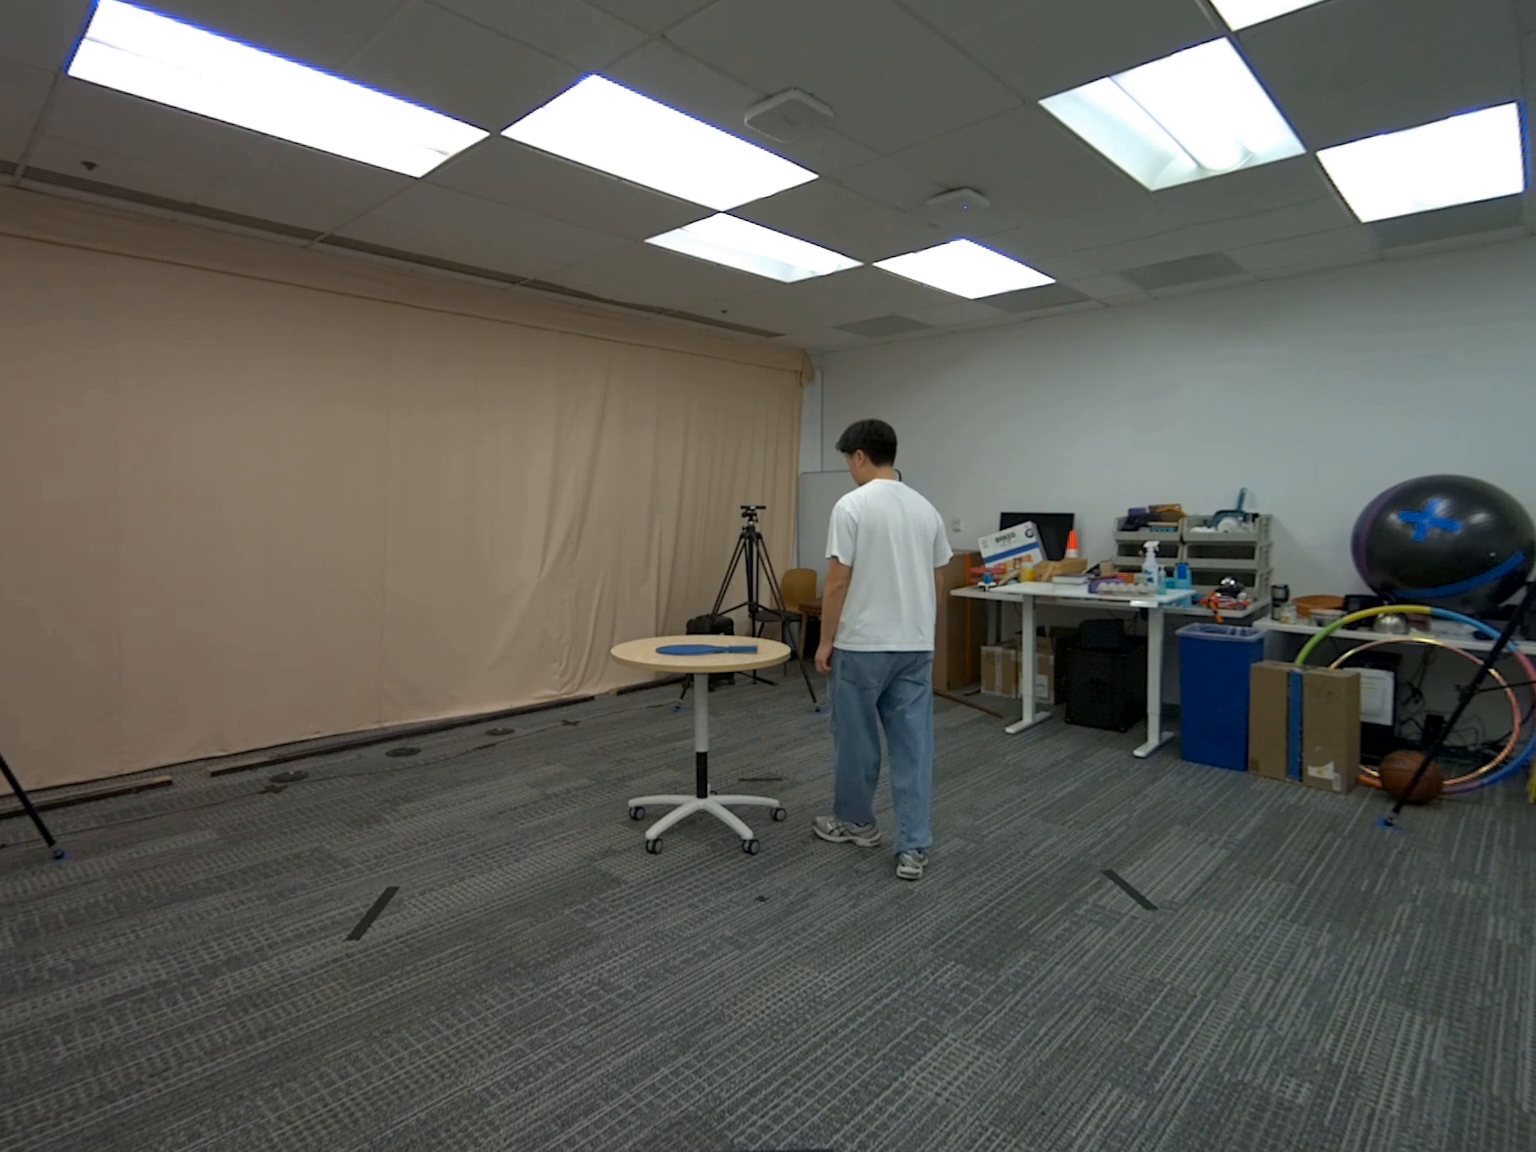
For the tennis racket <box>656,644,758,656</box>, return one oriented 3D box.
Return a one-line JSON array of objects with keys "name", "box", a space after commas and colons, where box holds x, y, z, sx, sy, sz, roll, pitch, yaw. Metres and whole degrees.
[{"name": "tennis racket", "box": [-0.256, 0.307, 3.515, 0.439, 0.032, 0.211, -1, 5, 13]}]
